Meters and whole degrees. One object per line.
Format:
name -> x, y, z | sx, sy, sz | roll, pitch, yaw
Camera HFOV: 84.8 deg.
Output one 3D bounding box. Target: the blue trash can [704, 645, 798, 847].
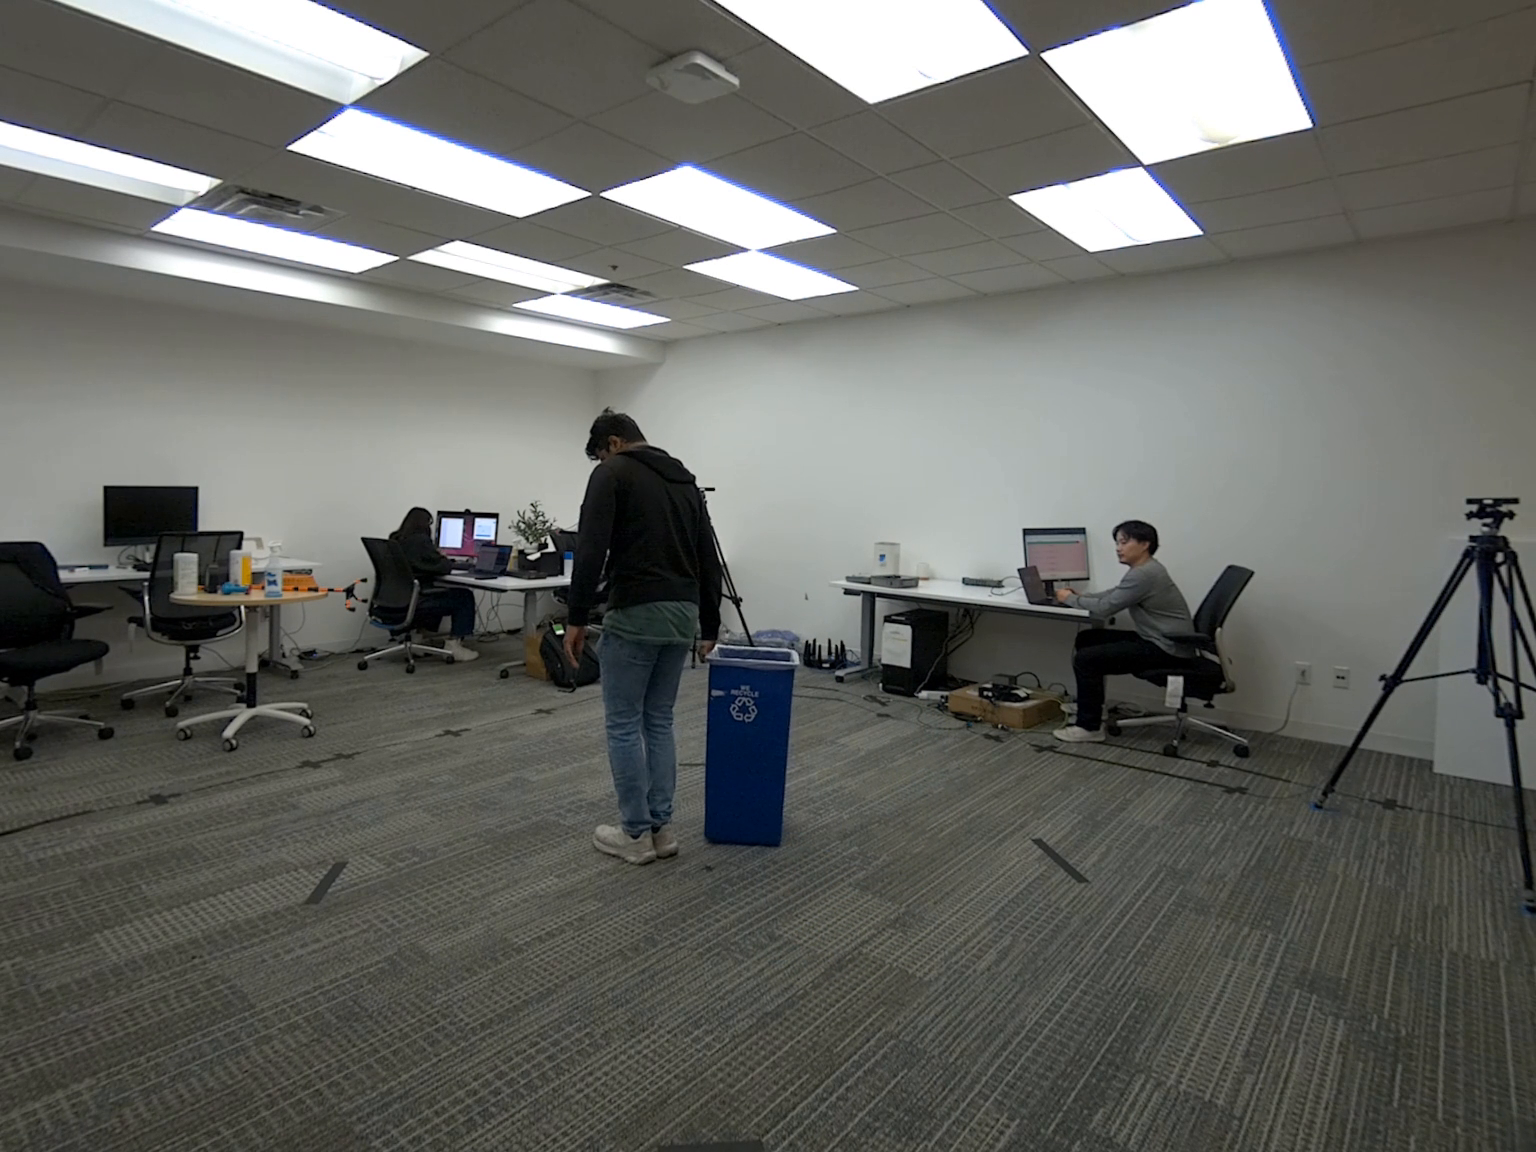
blue trash can -> -0.081, 0.671, 3.454 | 0.380, 0.713, 0.372 | 3, 1, 3
